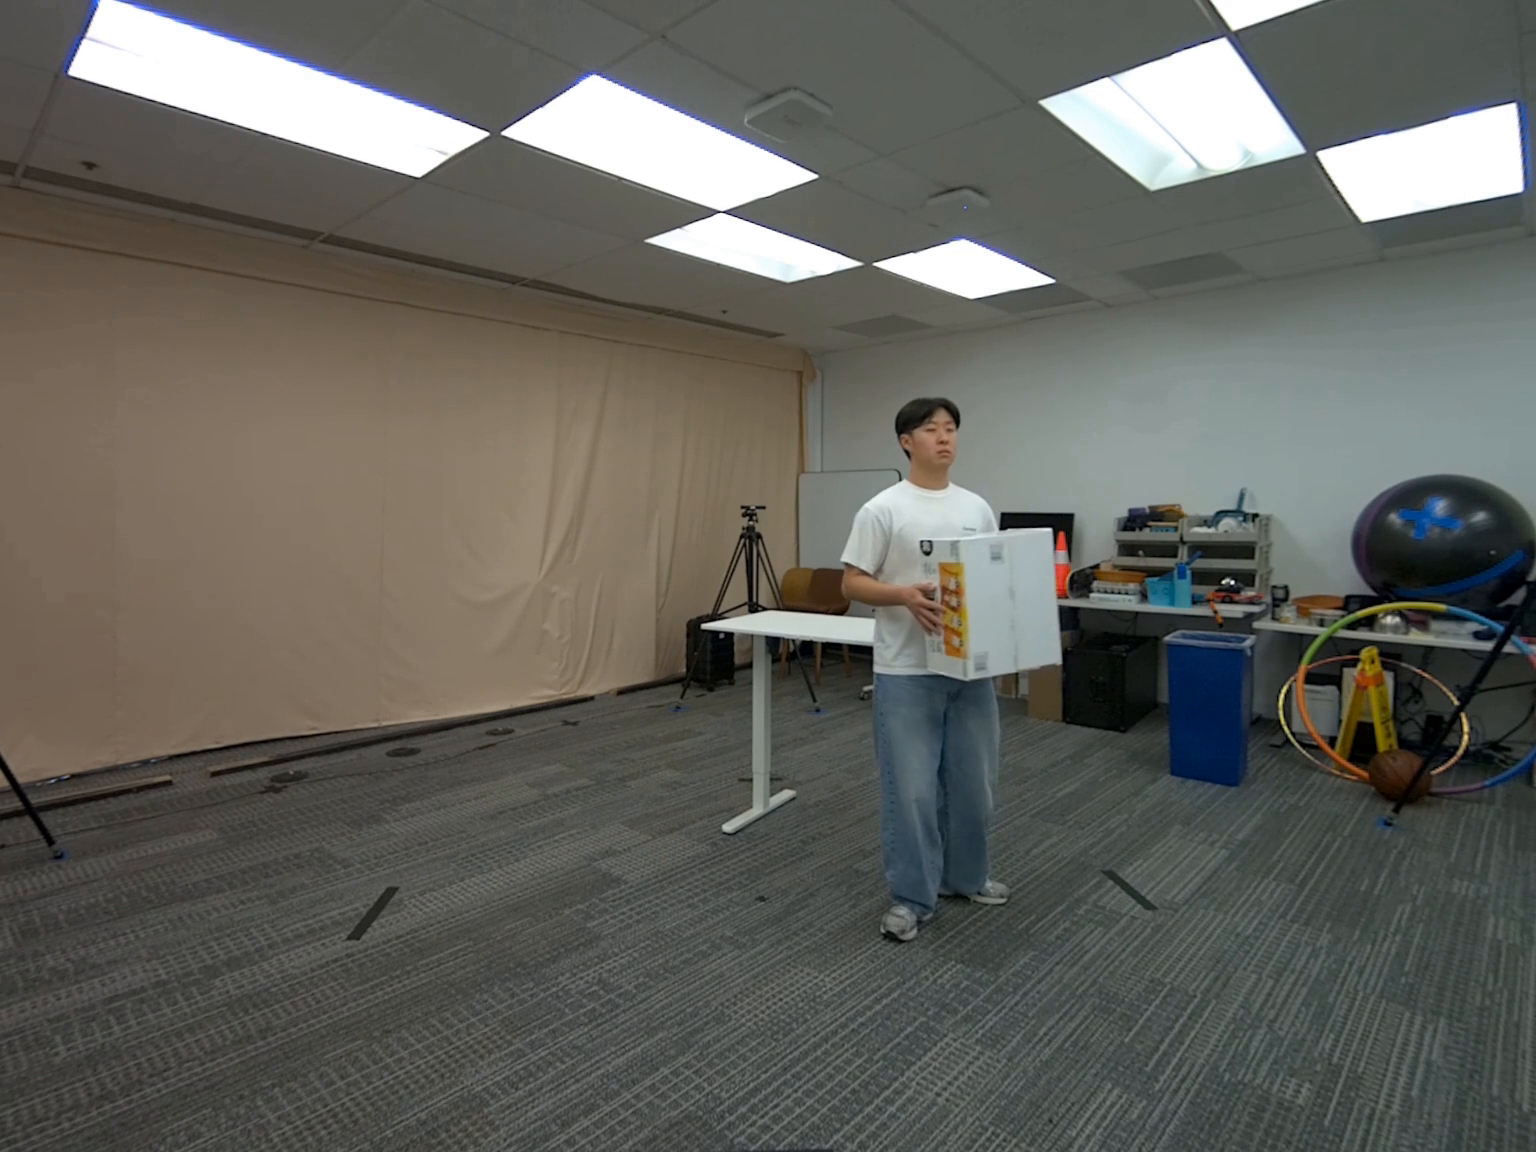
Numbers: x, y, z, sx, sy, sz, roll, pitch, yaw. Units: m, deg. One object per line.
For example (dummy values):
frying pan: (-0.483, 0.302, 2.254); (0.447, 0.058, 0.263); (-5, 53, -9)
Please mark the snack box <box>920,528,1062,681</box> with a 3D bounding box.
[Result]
snack box: (0.667, 0.076, 2.534); (0.334, 0.404, 0.210); (-6, 2, -21)
